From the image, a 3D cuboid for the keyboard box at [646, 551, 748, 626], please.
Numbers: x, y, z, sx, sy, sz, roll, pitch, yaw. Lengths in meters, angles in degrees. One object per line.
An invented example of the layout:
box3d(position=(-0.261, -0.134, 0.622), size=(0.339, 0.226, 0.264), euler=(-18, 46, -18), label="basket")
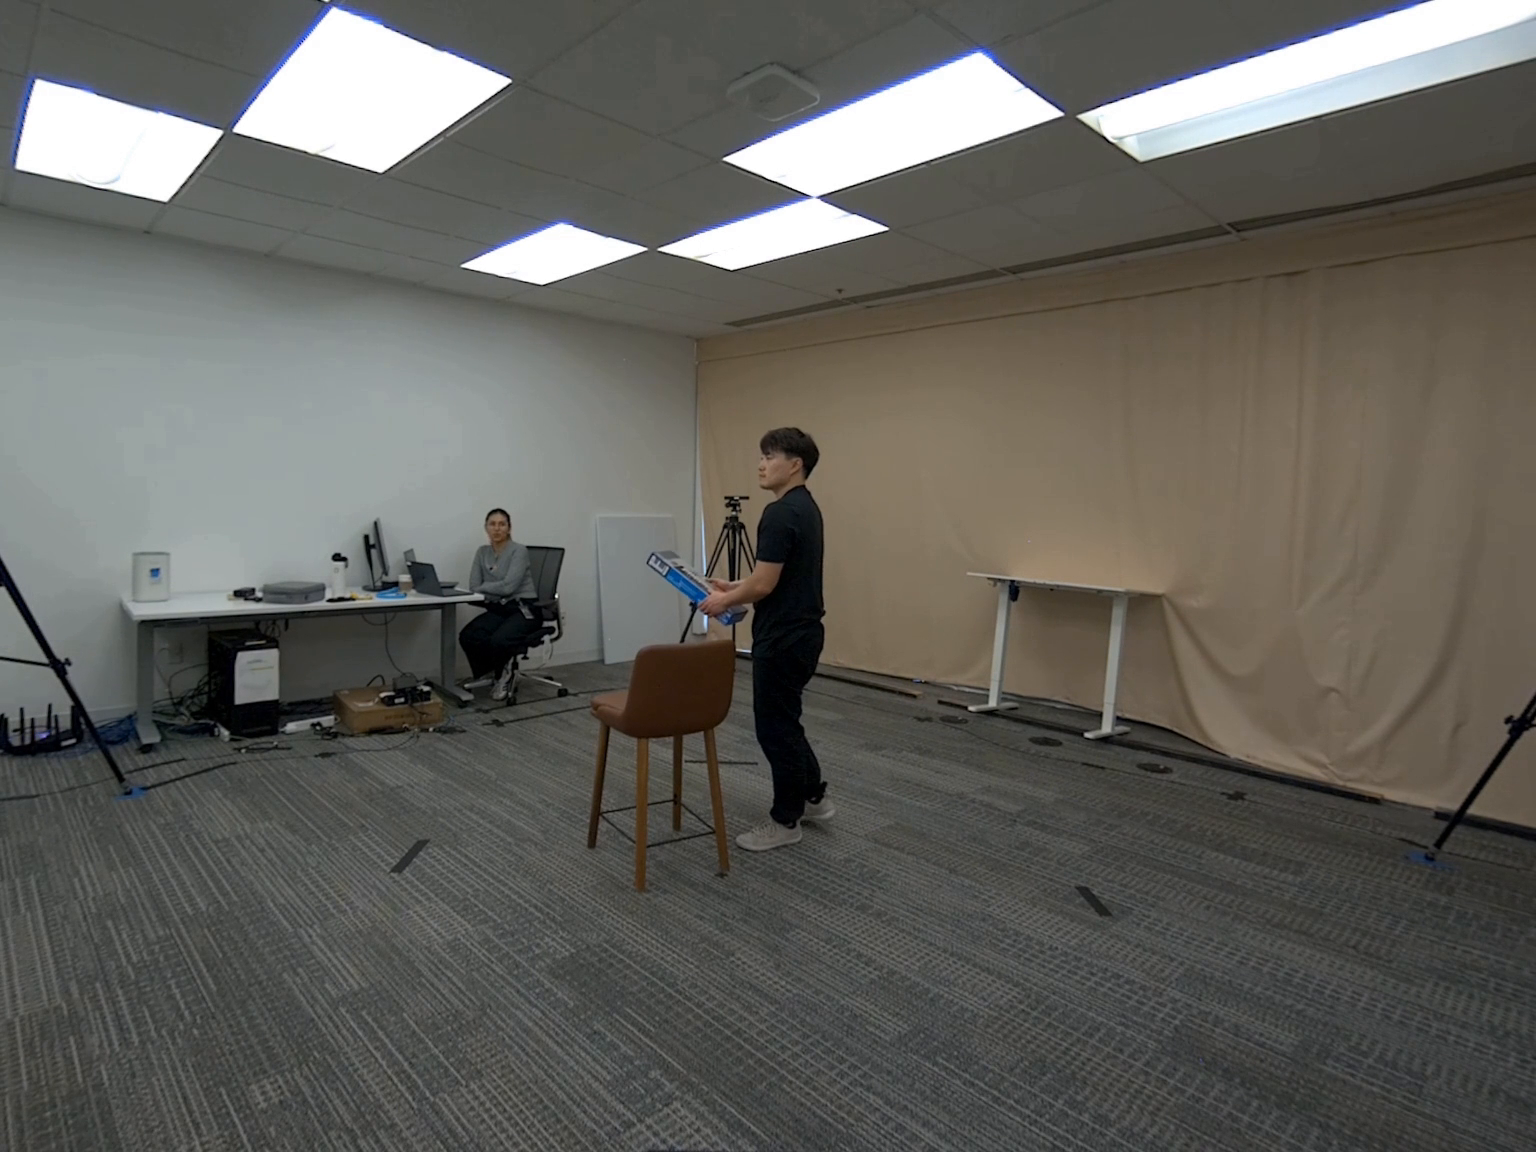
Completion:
box3d(position=(-0.298, 0.043, 3.499), size=(0.445, 0.059, 0.173), euler=(37, 15, 17), label="keyboard box")
